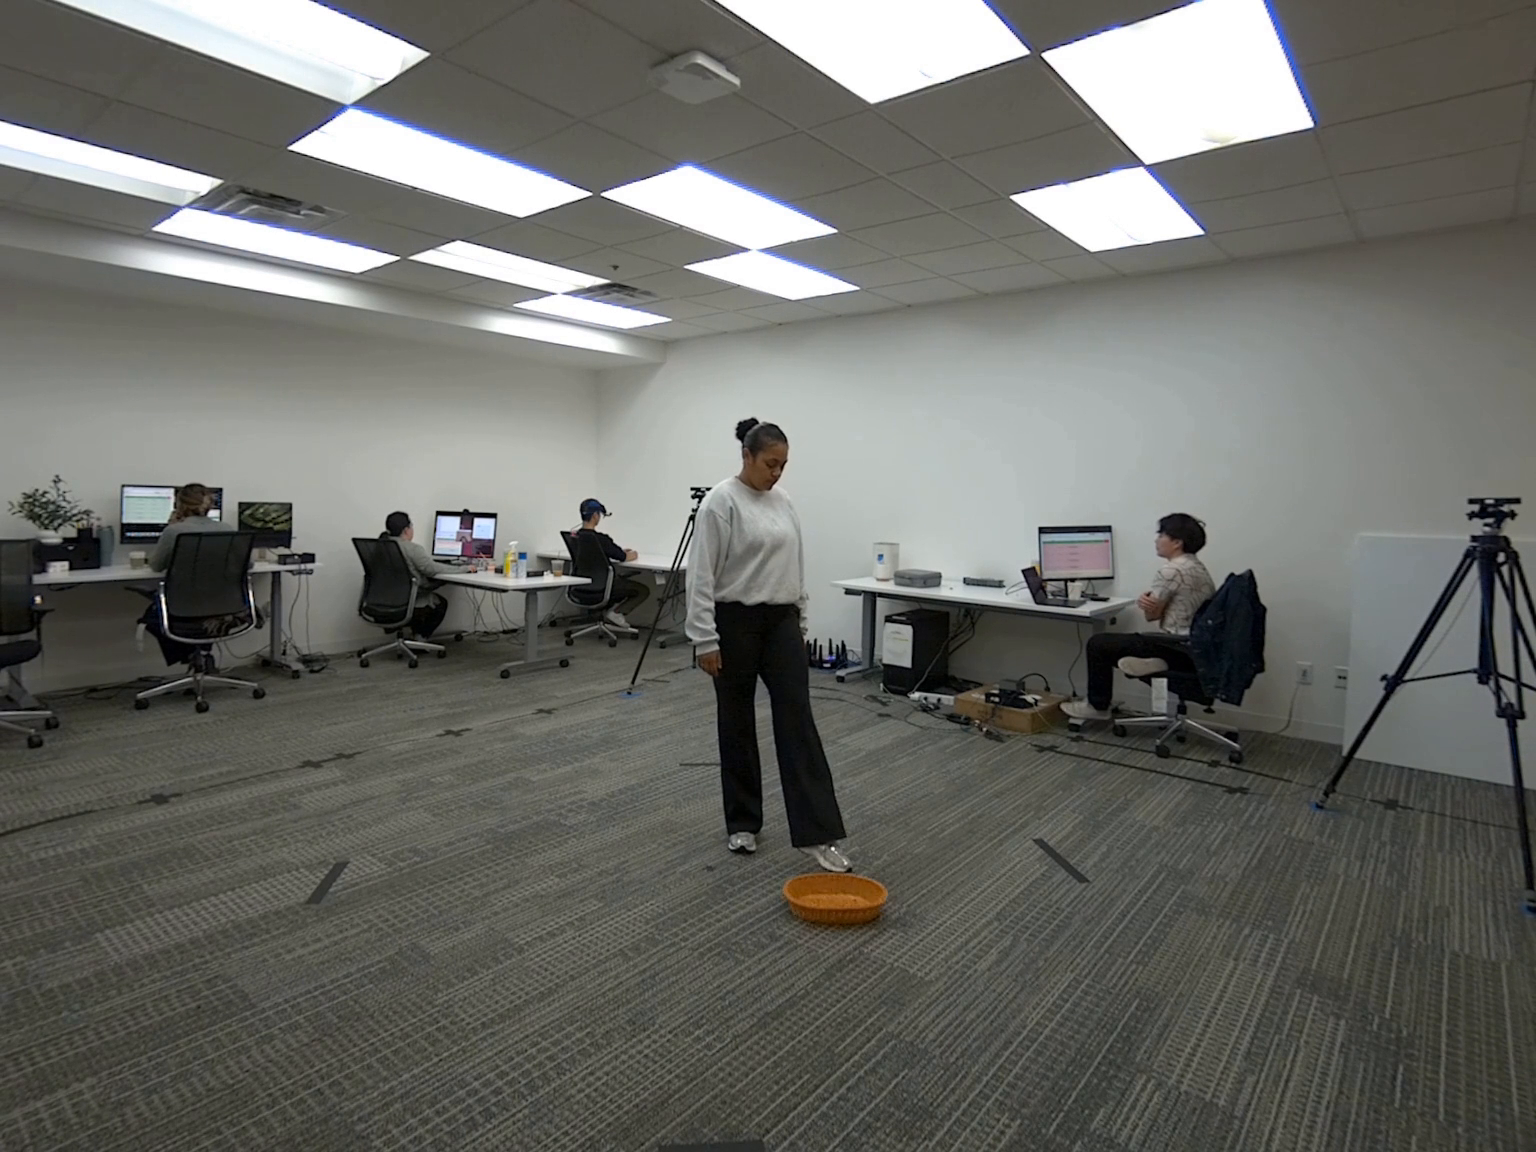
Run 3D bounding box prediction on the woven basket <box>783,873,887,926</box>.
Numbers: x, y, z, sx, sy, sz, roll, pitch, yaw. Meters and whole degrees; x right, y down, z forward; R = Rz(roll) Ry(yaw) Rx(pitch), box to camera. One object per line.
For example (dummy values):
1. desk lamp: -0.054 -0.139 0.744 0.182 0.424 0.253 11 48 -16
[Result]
1. woven basket: 0.215 1.057 2.849 0.350 0.073 0.254 1 6 -2
